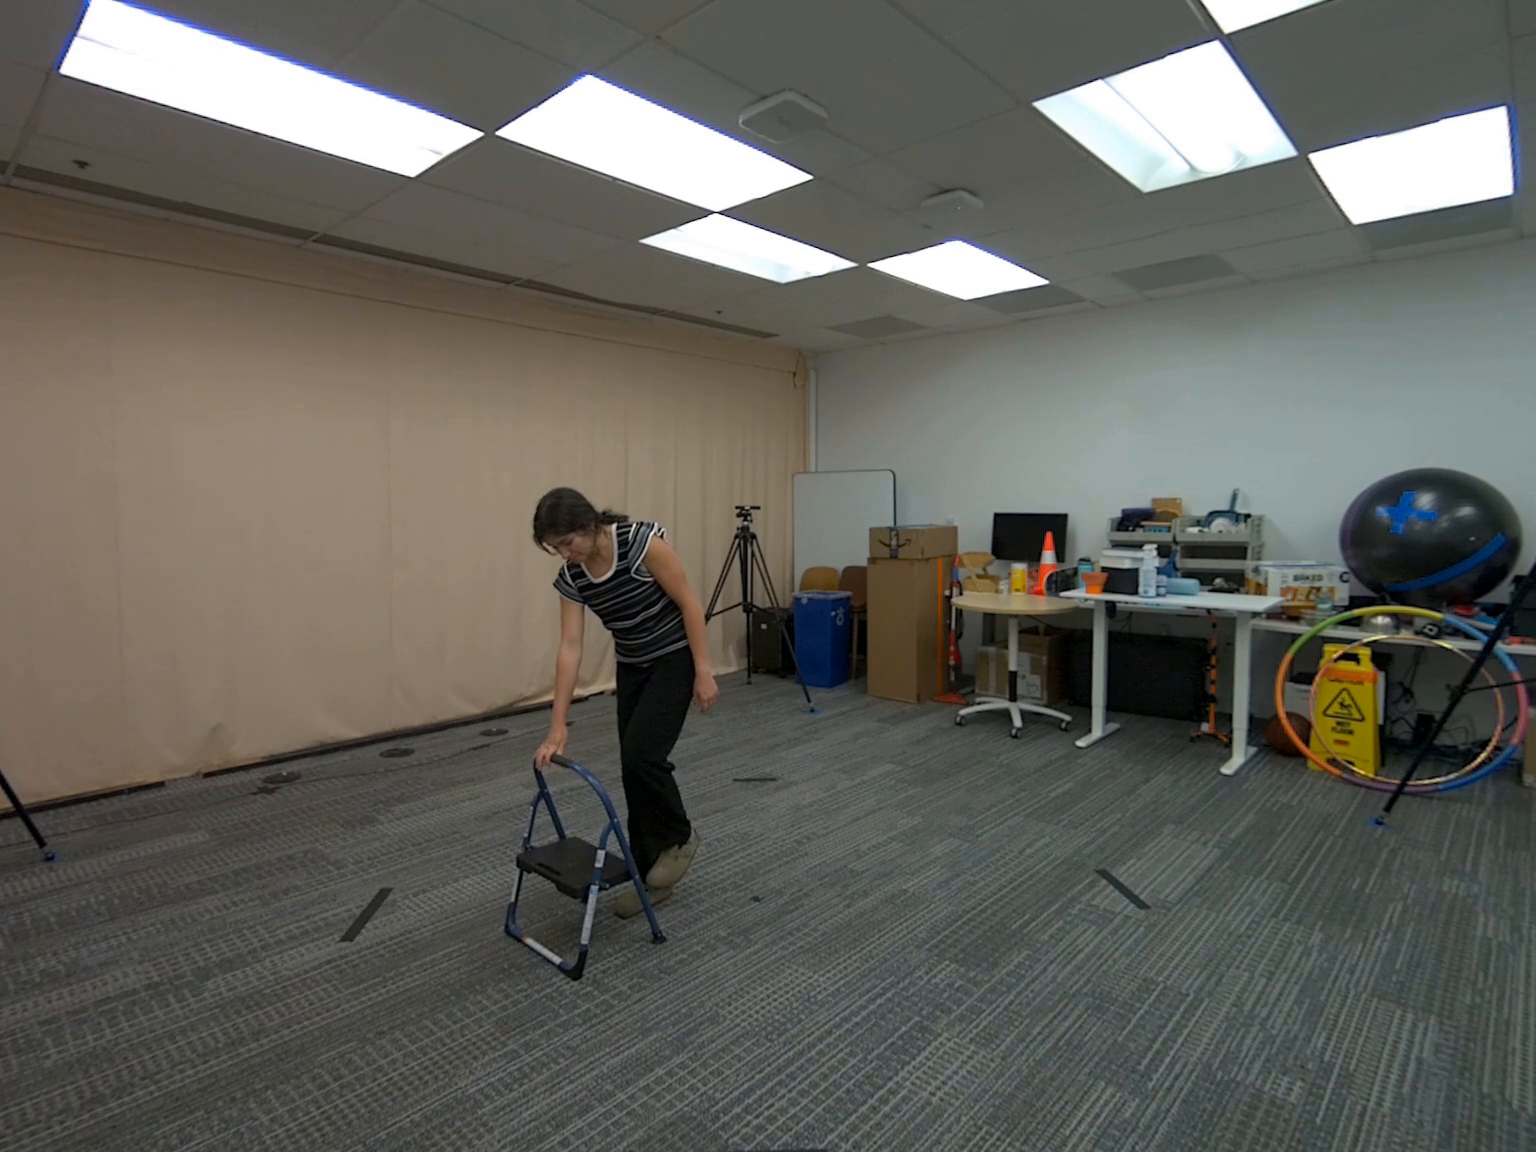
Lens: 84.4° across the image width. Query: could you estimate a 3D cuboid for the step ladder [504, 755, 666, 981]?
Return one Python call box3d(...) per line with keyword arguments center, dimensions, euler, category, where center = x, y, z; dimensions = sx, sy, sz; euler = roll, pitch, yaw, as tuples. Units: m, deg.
box3d(center=(-0.604, 0.871, 2.713), dimensions=(0.445, 0.605, 0.338), euler=(2, 4, 44), category="step ladder")
